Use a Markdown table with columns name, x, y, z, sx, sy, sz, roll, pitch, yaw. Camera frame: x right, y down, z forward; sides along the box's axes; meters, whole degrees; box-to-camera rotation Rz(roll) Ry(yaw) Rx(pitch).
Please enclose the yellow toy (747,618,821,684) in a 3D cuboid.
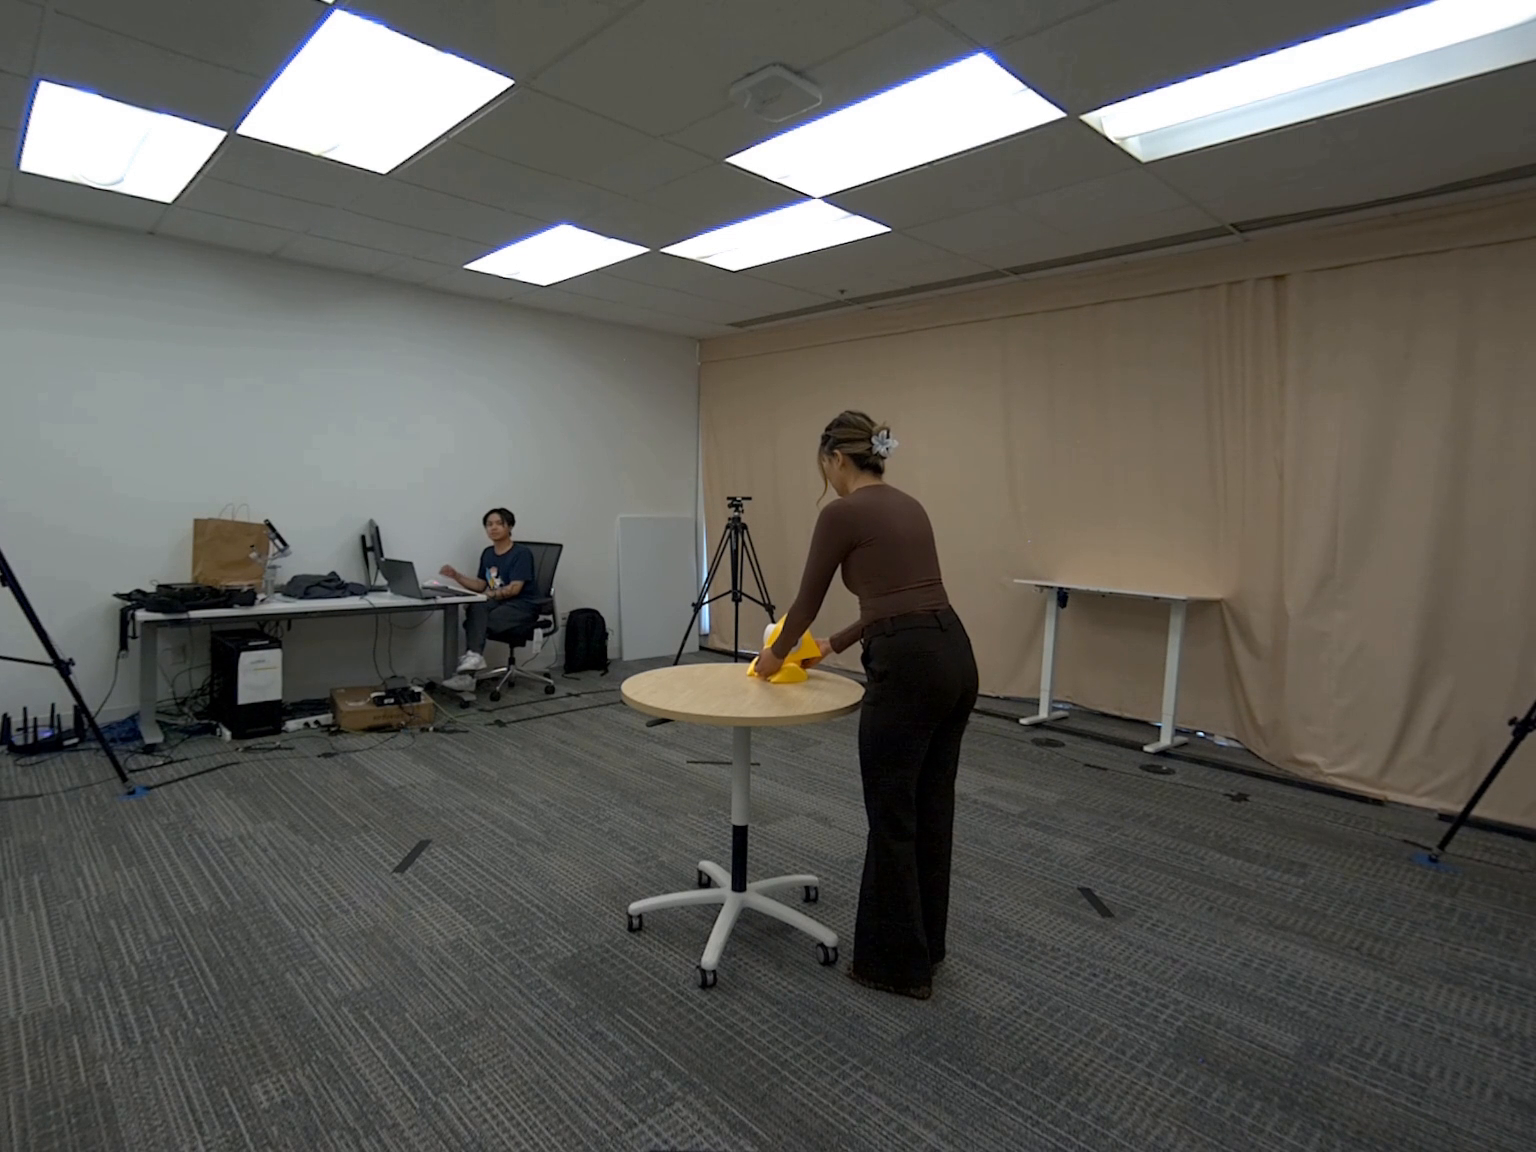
| name | x | y | z | sx | sy | sz | roll | pitch | yaw |
| --- | --- | --- | --- | --- | --- | --- | --- | --- | --- |
| yellow toy | 0.043 | 0.220 | 2.821 | 0.189 | 0.230 | 0.210 | -1 | 4 | -37 |
